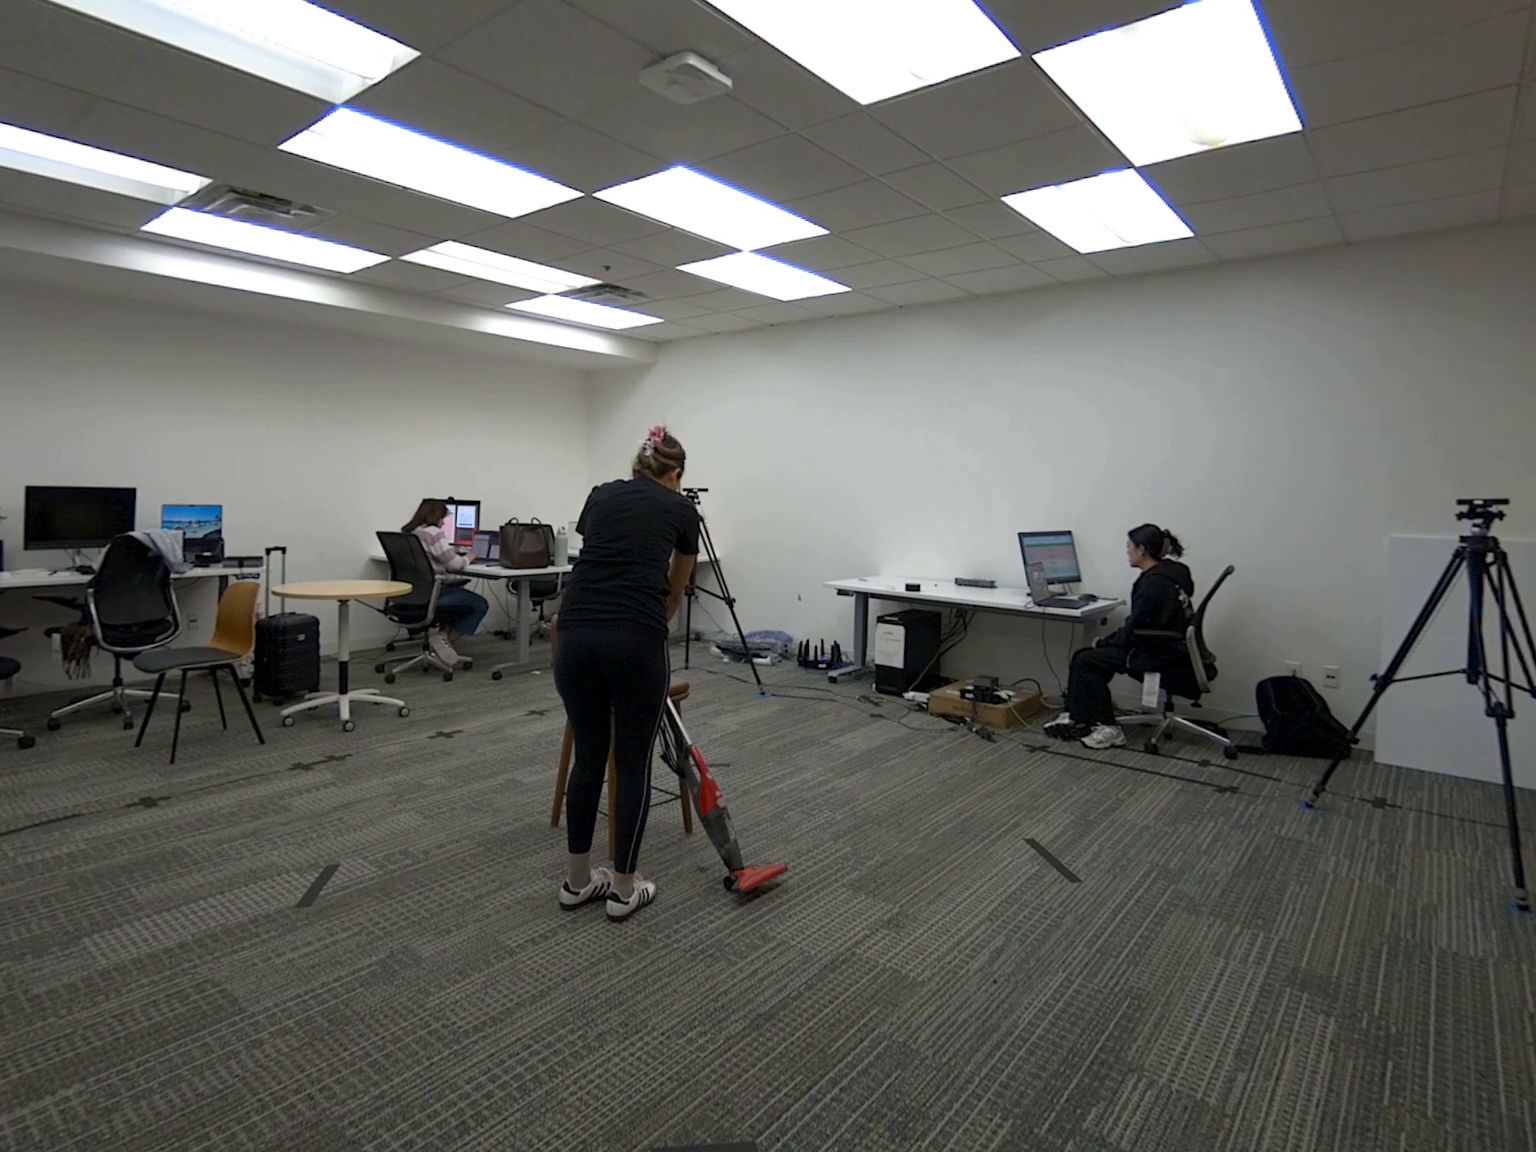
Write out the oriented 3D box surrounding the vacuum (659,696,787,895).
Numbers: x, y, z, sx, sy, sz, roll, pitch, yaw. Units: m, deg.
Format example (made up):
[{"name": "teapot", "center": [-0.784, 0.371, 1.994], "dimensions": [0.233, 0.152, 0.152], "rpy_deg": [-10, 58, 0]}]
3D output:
[{"name": "vacuum", "center": [-0.316, 0.652, 3.170], "dimensions": [0.144, 1.083, 0.244], "rpy_deg": [-46, -27, 27]}]
